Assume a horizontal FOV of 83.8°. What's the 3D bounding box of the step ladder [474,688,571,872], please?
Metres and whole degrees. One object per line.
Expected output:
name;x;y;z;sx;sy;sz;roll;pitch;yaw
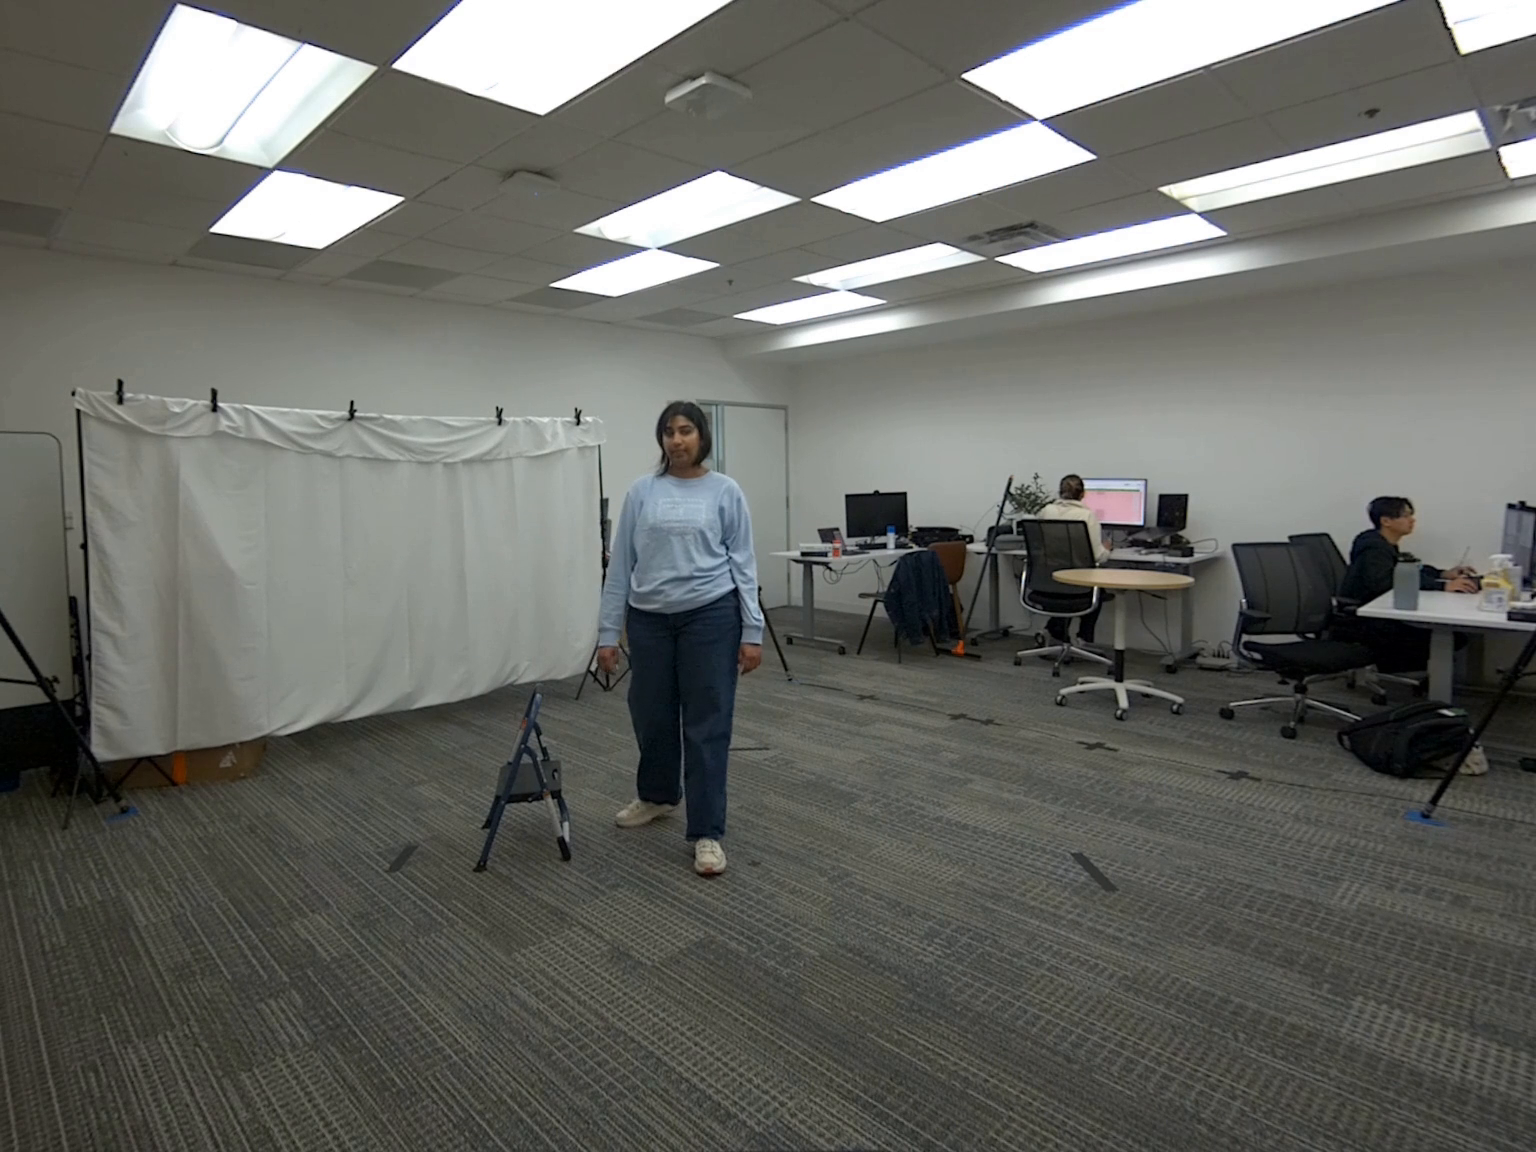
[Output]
step ladder;-0.944;0.738;3.304;0.345;0.604;0.437;-2;4;-14
